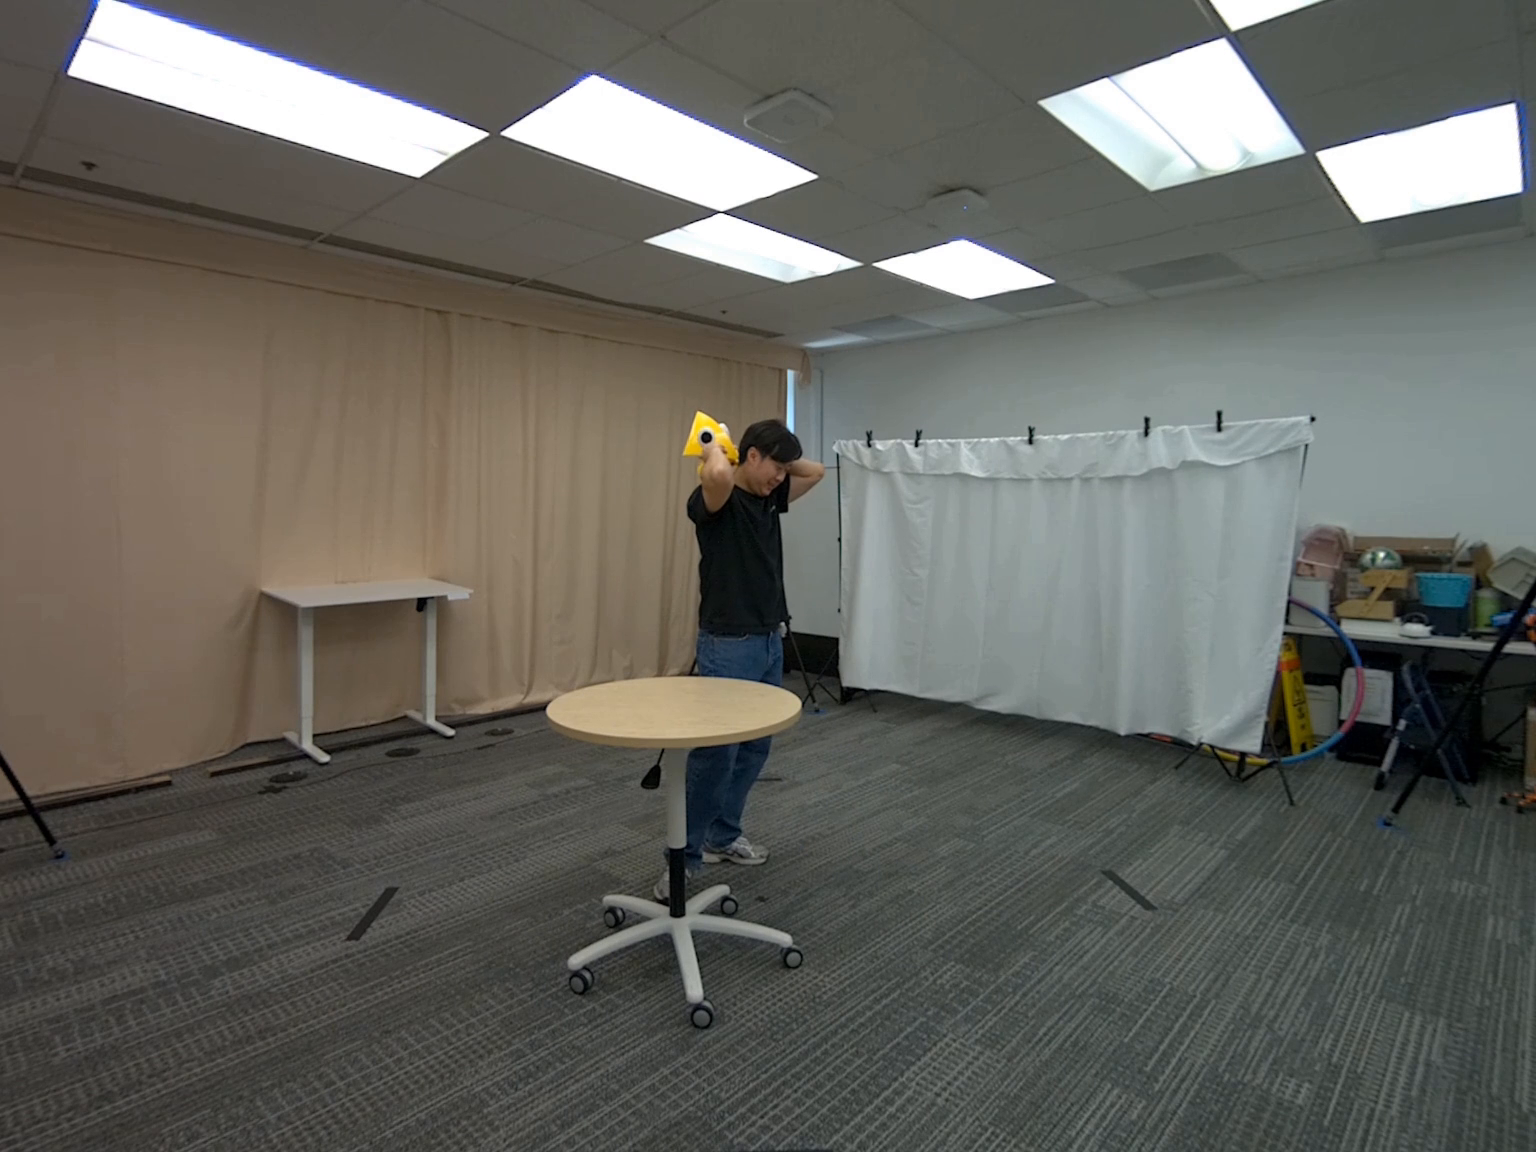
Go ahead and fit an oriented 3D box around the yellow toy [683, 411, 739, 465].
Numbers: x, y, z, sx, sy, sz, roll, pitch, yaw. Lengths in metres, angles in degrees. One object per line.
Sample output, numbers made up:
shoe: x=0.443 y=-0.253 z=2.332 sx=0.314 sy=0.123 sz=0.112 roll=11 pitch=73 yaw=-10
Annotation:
yellow toy: x=-0.205 y=-0.535 z=3.291 sx=0.199 sy=0.229 sz=0.200 roll=-2 pitch=13 yaw=37
